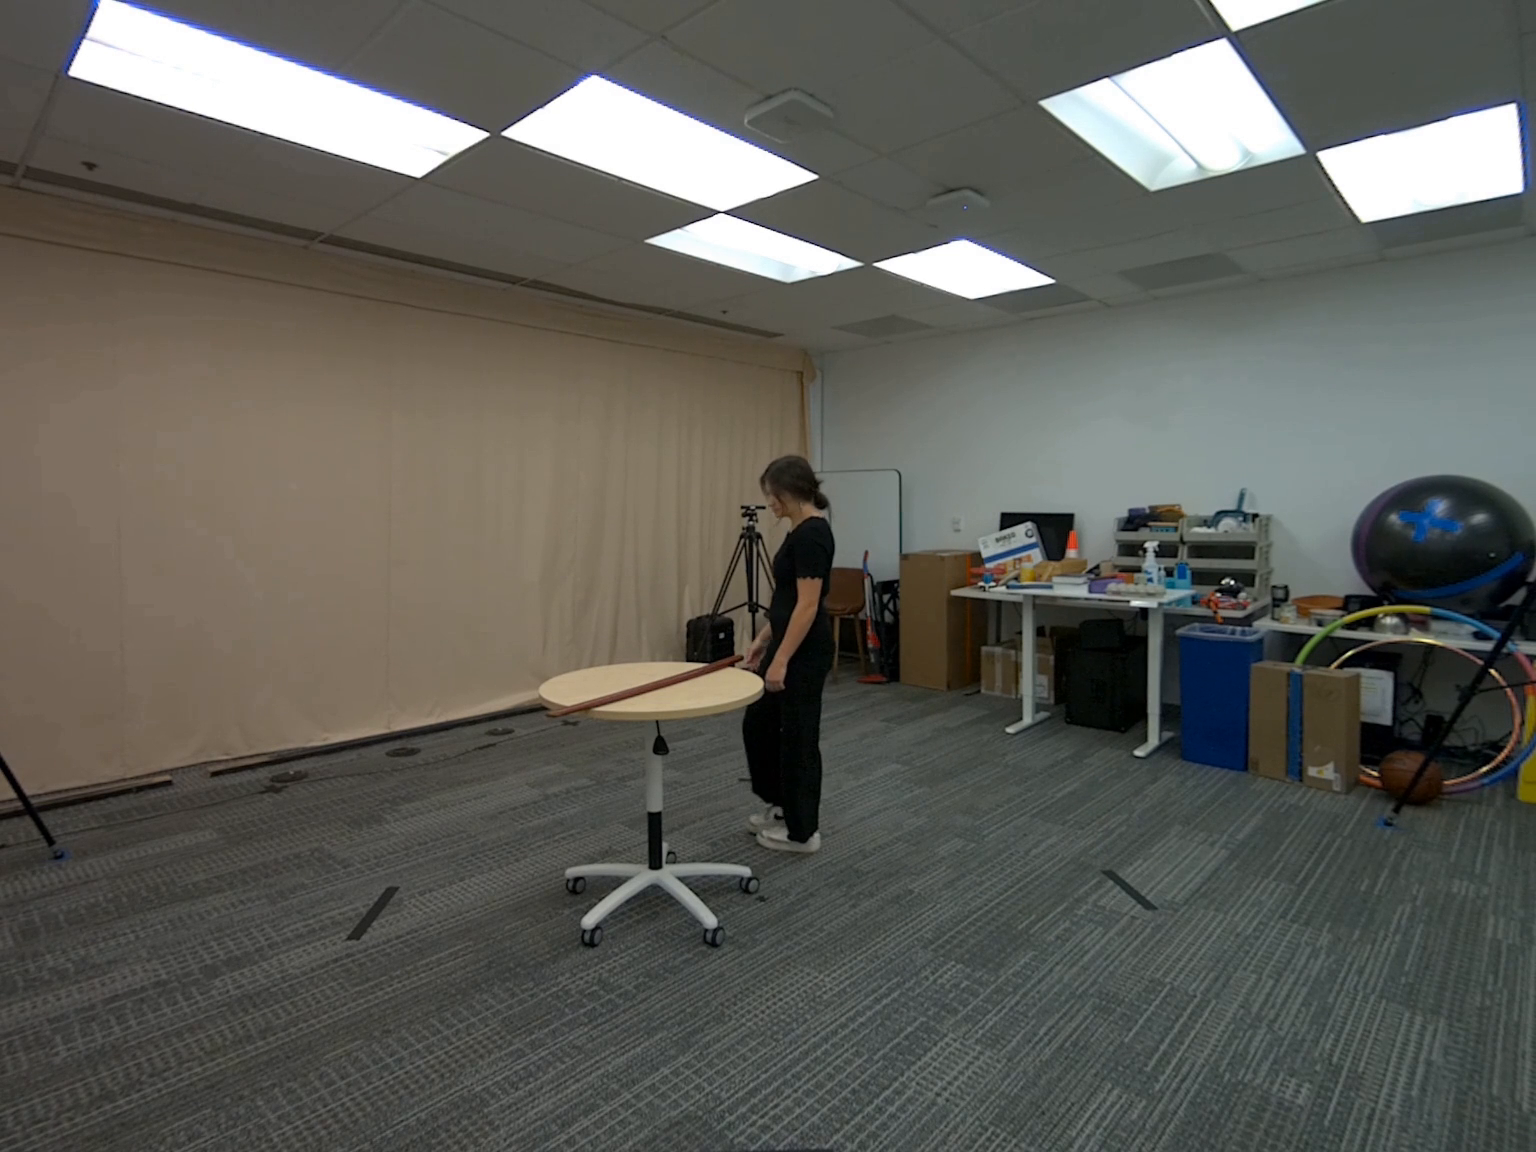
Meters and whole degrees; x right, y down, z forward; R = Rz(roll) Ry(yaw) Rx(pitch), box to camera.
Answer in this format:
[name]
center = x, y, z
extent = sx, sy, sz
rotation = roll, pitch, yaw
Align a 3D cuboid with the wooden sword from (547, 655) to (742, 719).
[wooden sword]
center = -0.350, 0.363, 2.845
extent = 0.053, 0.024, 0.998
rotation = 3, 7, 31
